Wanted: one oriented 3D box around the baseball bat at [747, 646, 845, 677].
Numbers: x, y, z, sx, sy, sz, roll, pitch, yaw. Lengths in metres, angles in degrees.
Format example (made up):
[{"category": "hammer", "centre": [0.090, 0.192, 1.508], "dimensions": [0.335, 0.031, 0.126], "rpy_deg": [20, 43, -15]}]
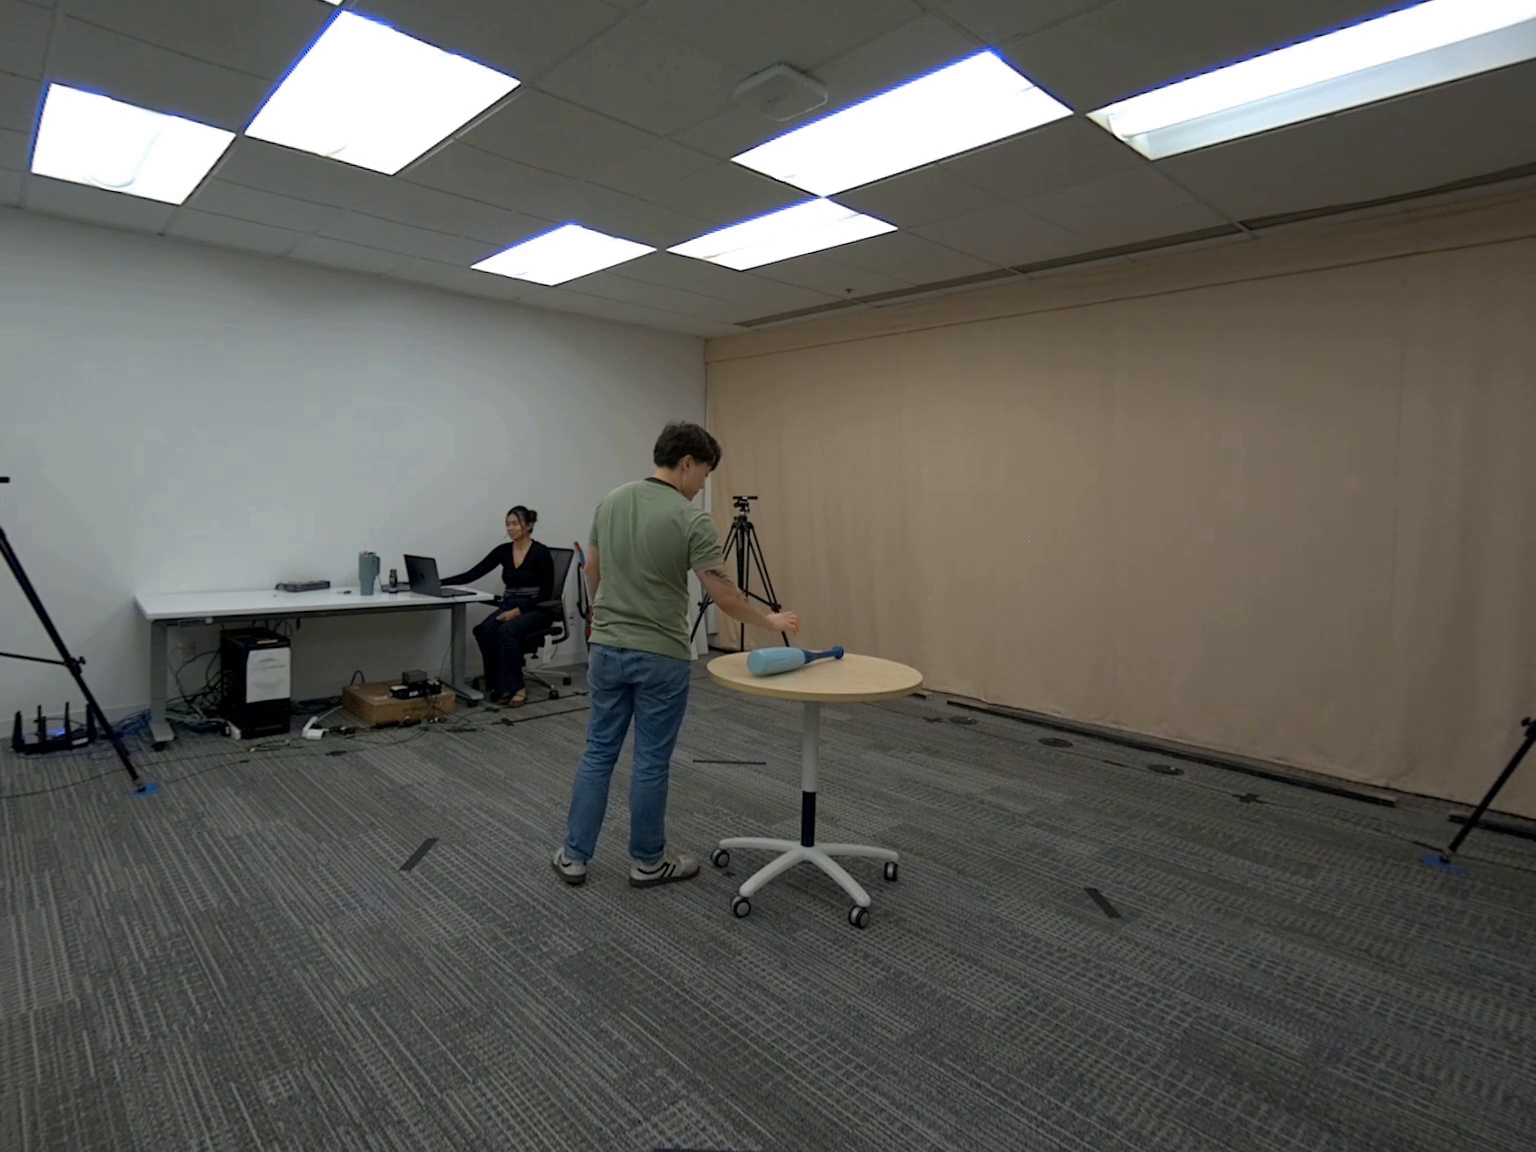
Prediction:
[{"category": "baseball bat", "centre": [0.108, 0.294, 3.030], "dimensions": [0.091, 0.089, 0.530], "rpy_deg": [5, 2, 36]}]
